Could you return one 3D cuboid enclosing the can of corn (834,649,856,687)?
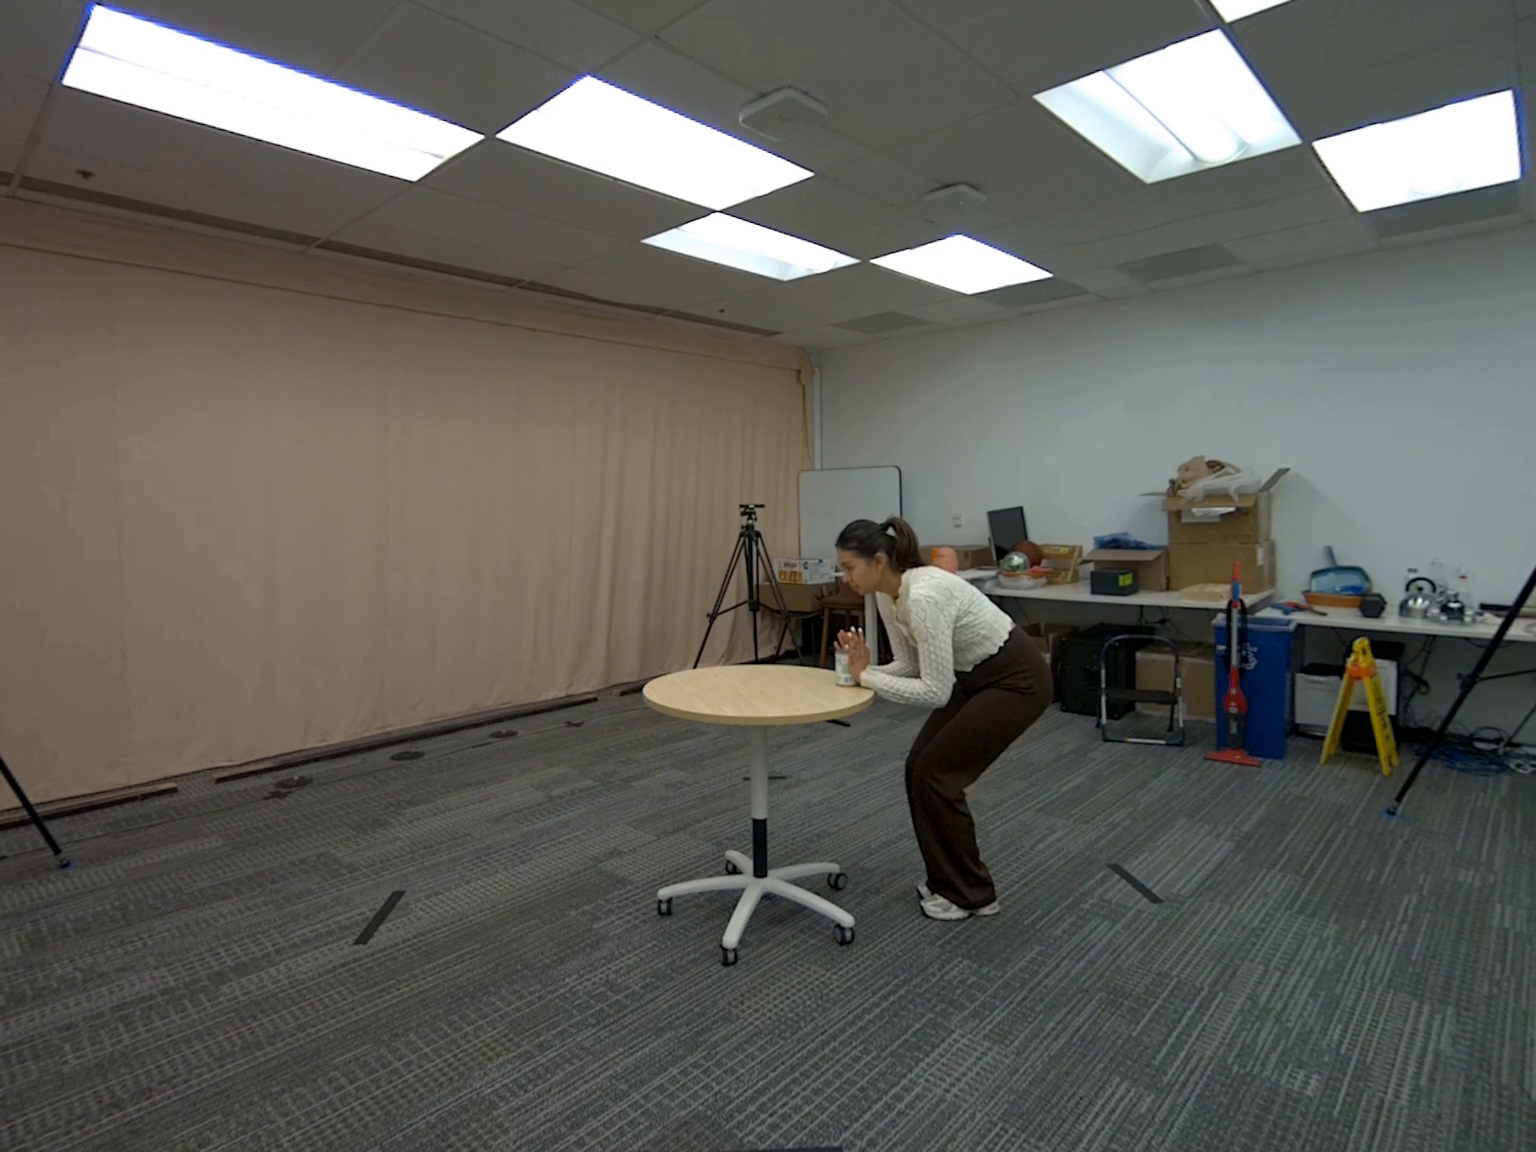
[{"bbox_3d":[0.279,0.315,2.820,0.074,0.111,0.074,0,3,-2],"label":"can of corn"}]
